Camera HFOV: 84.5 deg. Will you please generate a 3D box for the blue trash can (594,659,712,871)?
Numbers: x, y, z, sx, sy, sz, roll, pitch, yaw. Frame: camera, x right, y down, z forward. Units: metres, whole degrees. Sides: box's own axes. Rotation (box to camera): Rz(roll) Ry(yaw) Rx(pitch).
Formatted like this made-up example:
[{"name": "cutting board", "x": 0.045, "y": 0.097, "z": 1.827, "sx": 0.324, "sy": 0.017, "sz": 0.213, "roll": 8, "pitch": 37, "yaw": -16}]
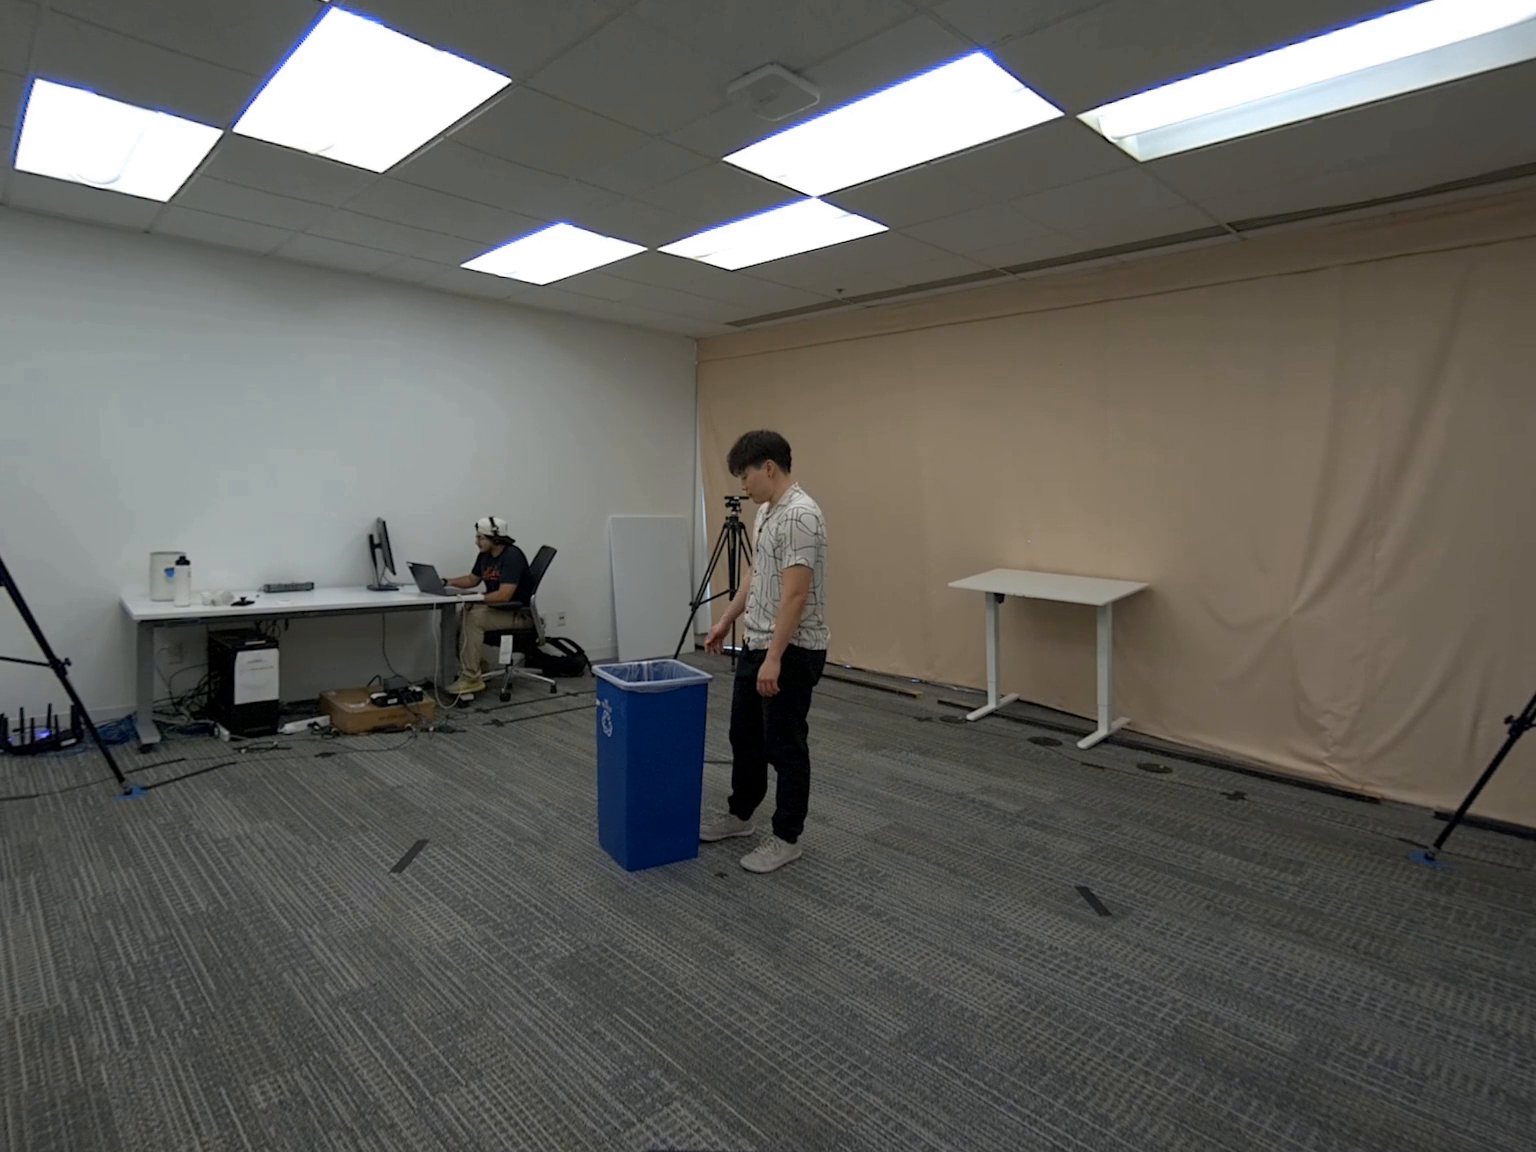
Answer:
[{"name": "blue trash can", "x": -0.462, "y": 0.721, "z": 3.282, "sx": 0.370, "sy": 0.712, "sz": 0.383, "roll": -1, "pitch": 4, "yaw": -31}]
